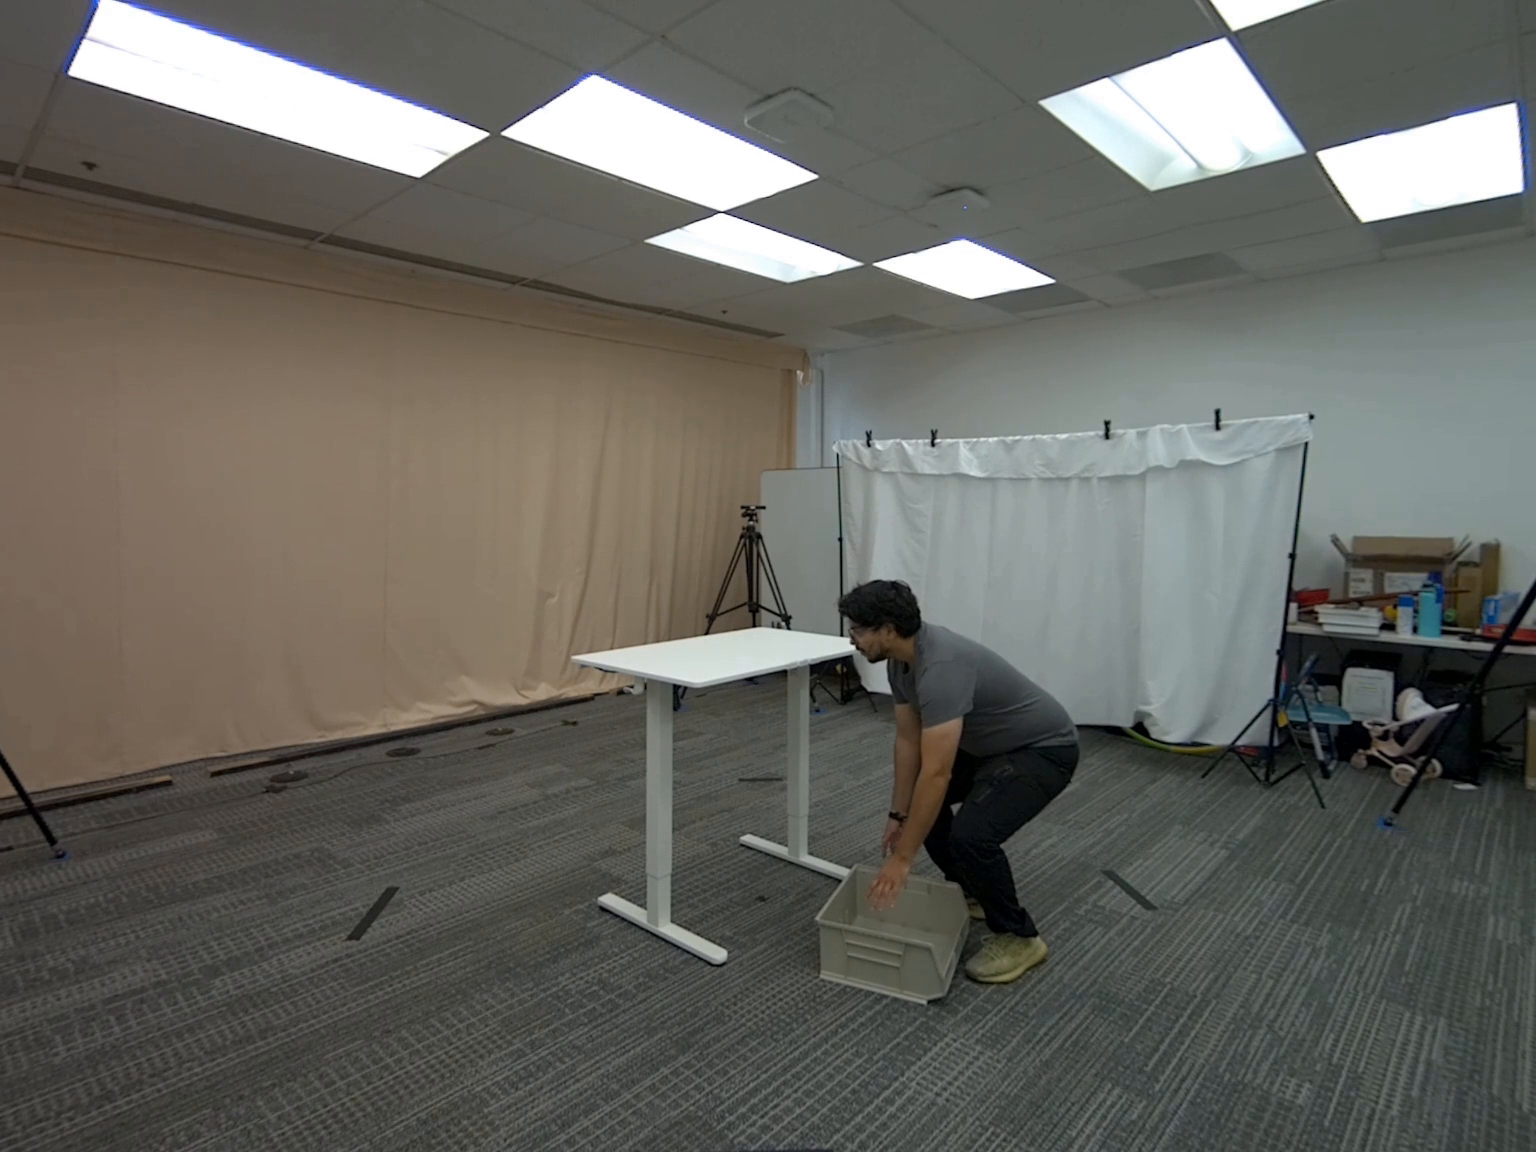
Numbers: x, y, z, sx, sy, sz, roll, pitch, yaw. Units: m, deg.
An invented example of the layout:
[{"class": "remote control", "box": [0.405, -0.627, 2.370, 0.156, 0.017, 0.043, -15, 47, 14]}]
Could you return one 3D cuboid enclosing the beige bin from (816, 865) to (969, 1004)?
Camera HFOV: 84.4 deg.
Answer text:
[{"class": "beige bin", "box": [0.405, 1.093, 2.581, 0.386, 0.188, 0.413, 0, 5, 23]}]
